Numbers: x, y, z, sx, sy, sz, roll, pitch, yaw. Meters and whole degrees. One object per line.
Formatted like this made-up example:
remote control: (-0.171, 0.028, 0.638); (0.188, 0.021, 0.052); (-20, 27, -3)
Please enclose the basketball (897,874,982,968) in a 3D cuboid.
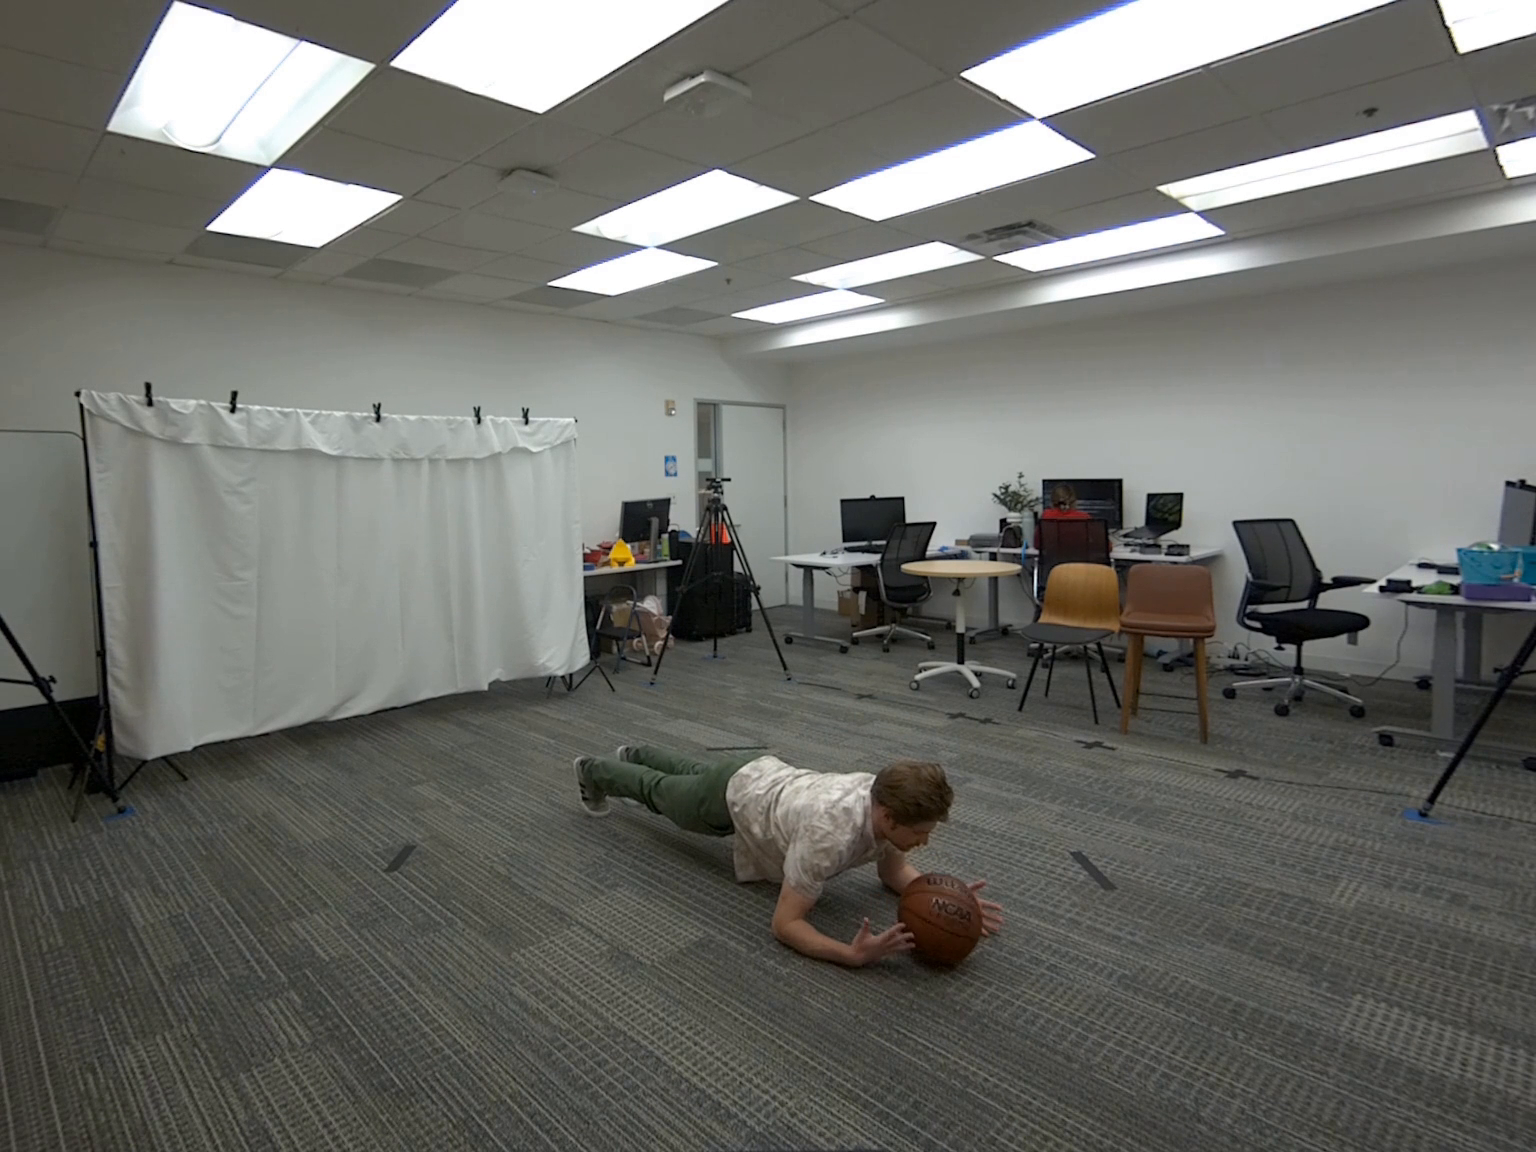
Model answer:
basketball: (0.507, 0.990, 2.469); (0.236, 0.235, 0.237); (-1, 5, -2)
